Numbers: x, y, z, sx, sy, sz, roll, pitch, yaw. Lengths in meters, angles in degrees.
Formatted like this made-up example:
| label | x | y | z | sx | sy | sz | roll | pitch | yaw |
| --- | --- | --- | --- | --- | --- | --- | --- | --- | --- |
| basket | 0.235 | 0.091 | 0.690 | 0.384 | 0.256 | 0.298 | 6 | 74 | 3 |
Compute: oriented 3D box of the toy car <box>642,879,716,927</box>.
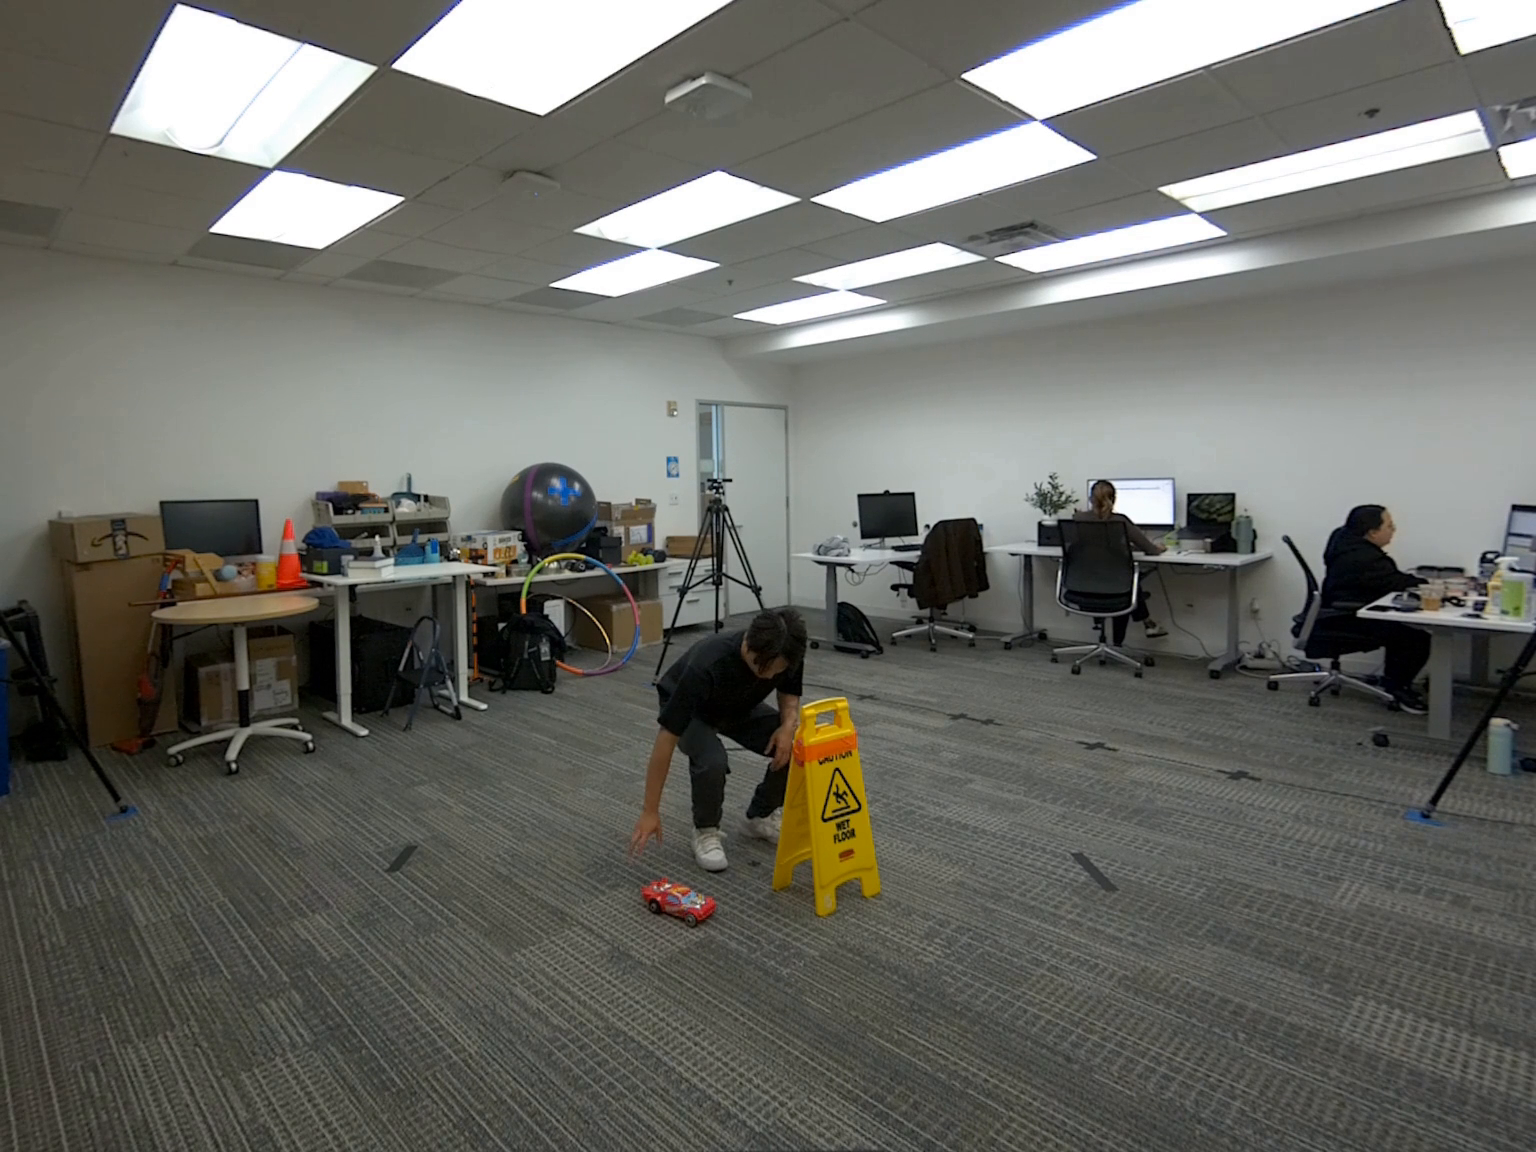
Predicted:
| label | x | y | z | sx | sy | sz | roll | pitch | yaw |
| --- | --- | --- | --- | --- | --- | --- | --- | --- | --- |
| toy car | -0.291 | 1.061 | 2.771 | 0.263 | 0.082 | 0.127 | 15 | 15 | 32 |
